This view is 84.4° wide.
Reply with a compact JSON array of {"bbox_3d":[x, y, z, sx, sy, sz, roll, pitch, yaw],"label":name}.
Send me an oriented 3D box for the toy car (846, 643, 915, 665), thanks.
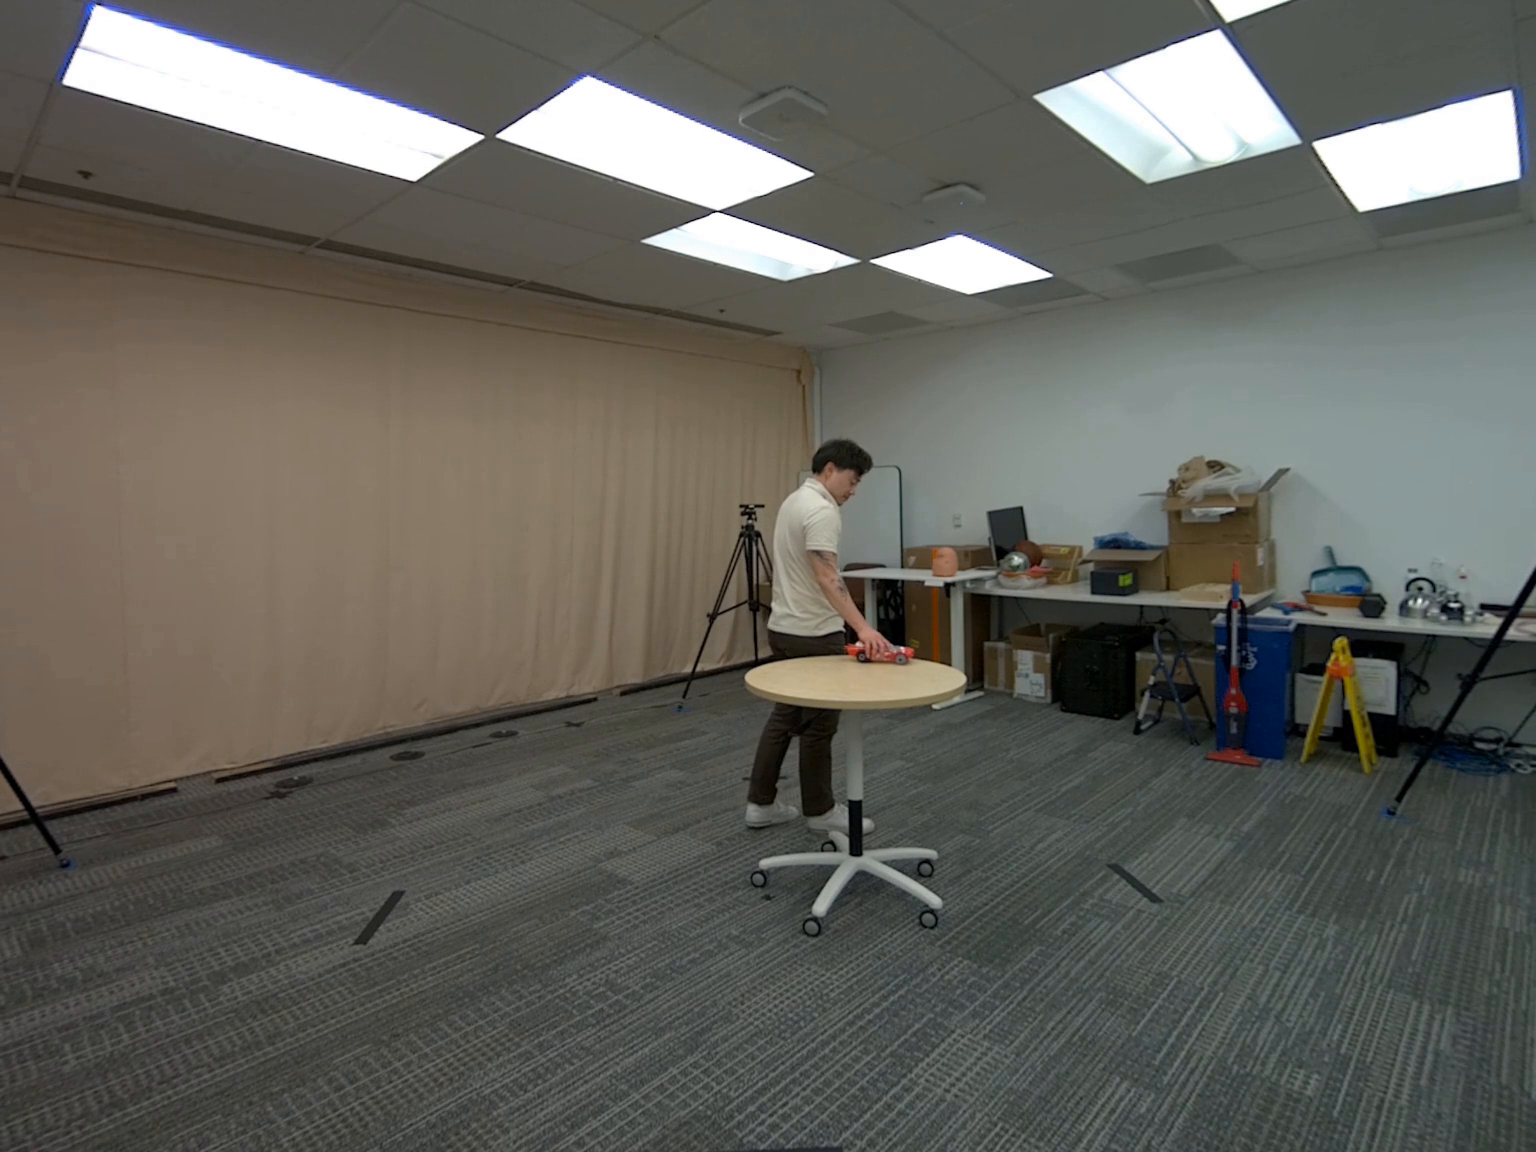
[{"bbox_3d":[0.431,0.296,3.211,0.260,0.083,0.128,11,10,20],"label":"toy car"}]
